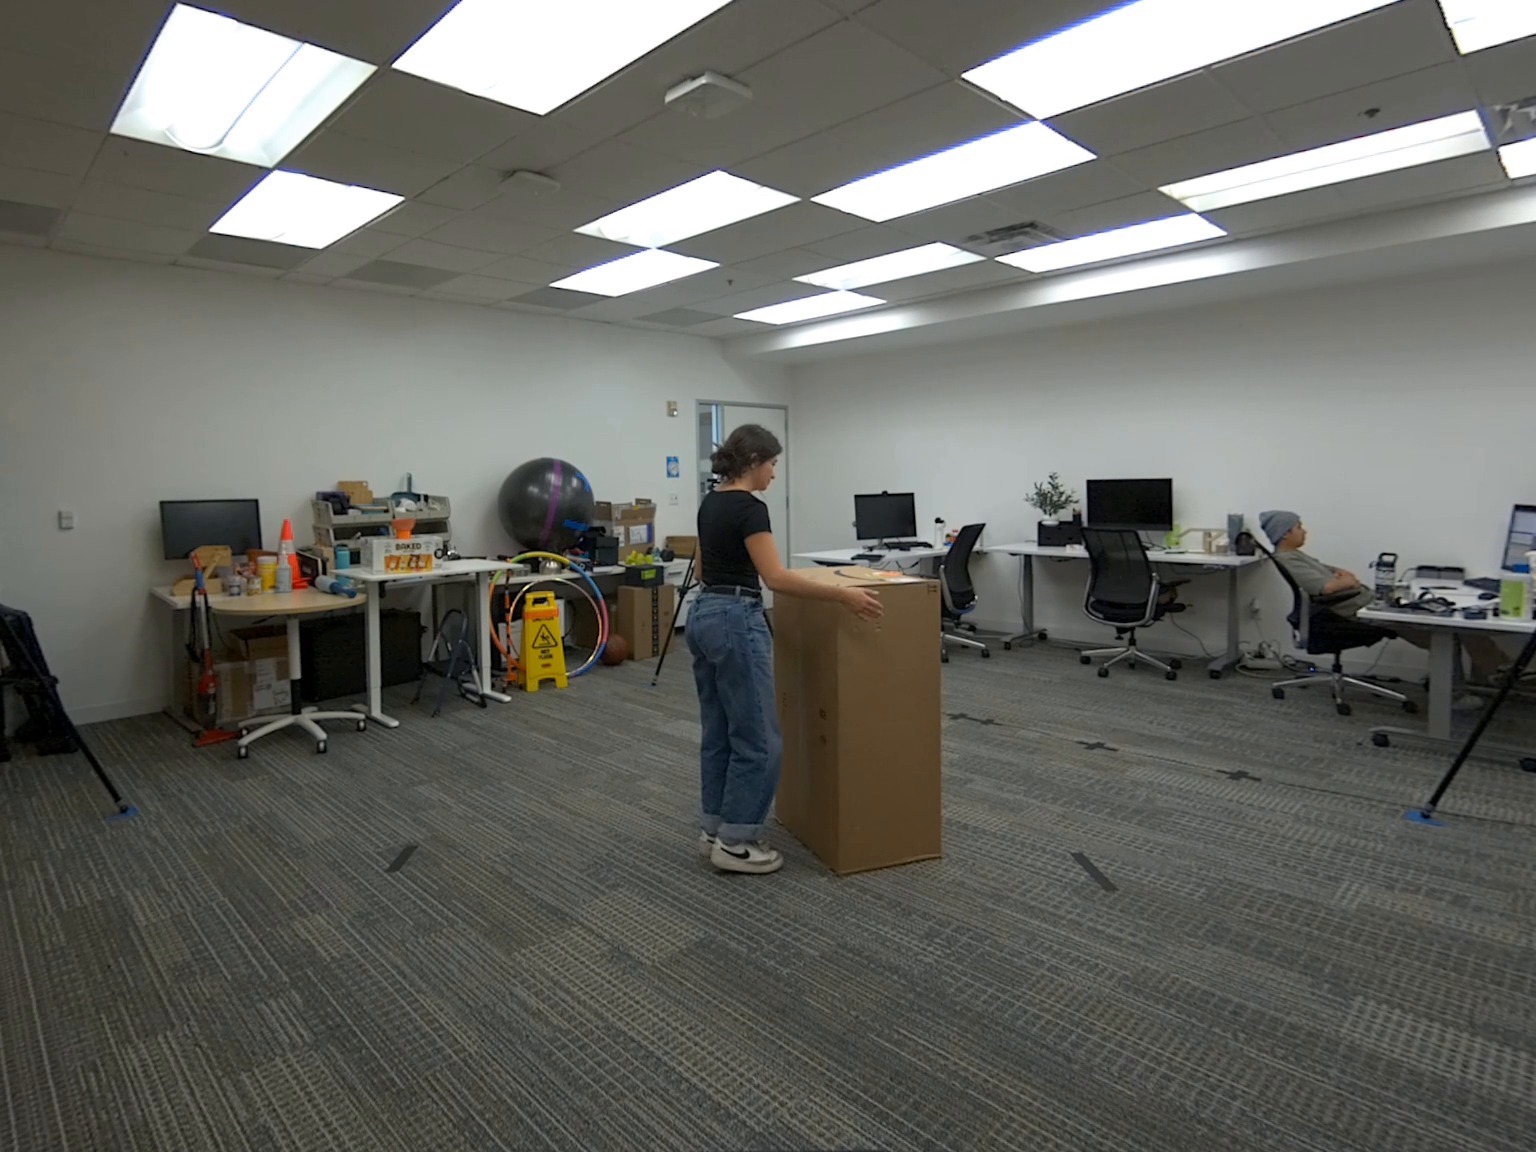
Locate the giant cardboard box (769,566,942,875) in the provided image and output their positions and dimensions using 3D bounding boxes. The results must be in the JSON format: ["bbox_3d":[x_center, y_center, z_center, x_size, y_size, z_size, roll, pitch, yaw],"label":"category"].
[{"bbox_3d":[0.329,0.505,3.304,0.418,1.022,0.590,-2,4,-22],"label":"giant cardboard box"}]
